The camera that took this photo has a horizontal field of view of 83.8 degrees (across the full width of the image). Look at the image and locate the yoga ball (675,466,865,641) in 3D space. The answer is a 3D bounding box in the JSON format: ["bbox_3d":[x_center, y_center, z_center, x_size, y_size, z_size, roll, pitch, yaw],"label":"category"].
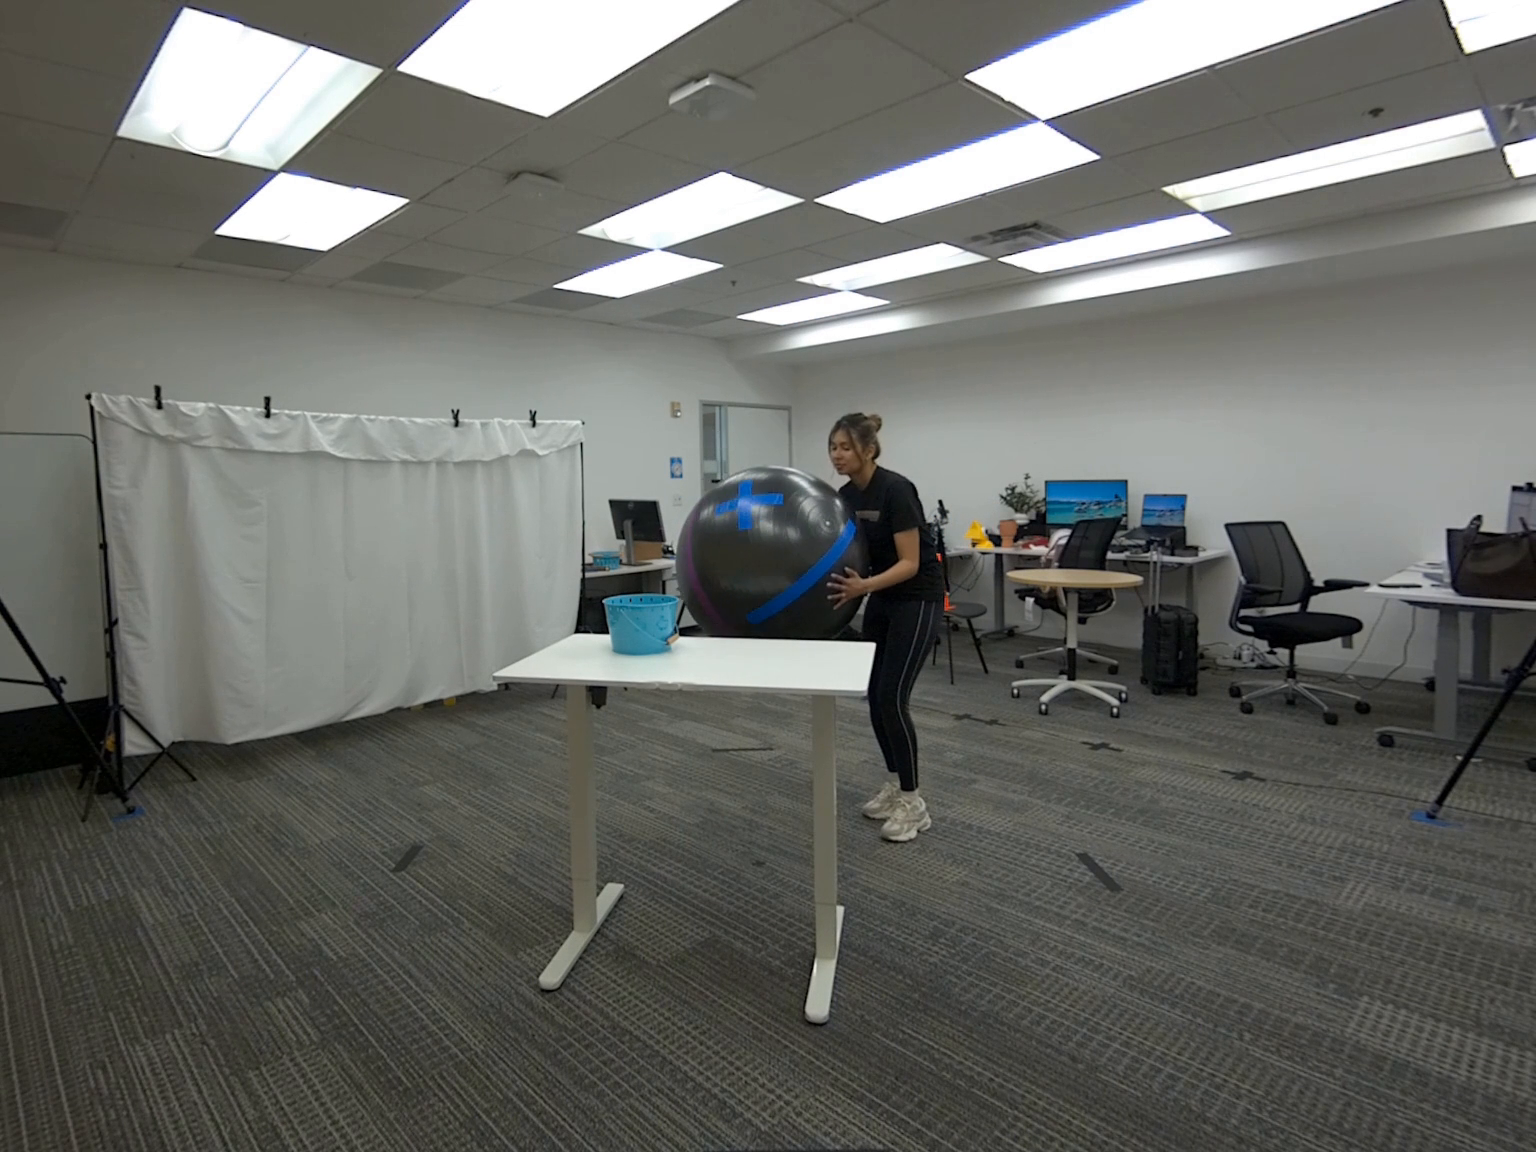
[{"bbox_3d":[0.013,-0.048,3.357,0.757,0.755,0.762,-1,5,-2],"label":"yoga ball"}]
